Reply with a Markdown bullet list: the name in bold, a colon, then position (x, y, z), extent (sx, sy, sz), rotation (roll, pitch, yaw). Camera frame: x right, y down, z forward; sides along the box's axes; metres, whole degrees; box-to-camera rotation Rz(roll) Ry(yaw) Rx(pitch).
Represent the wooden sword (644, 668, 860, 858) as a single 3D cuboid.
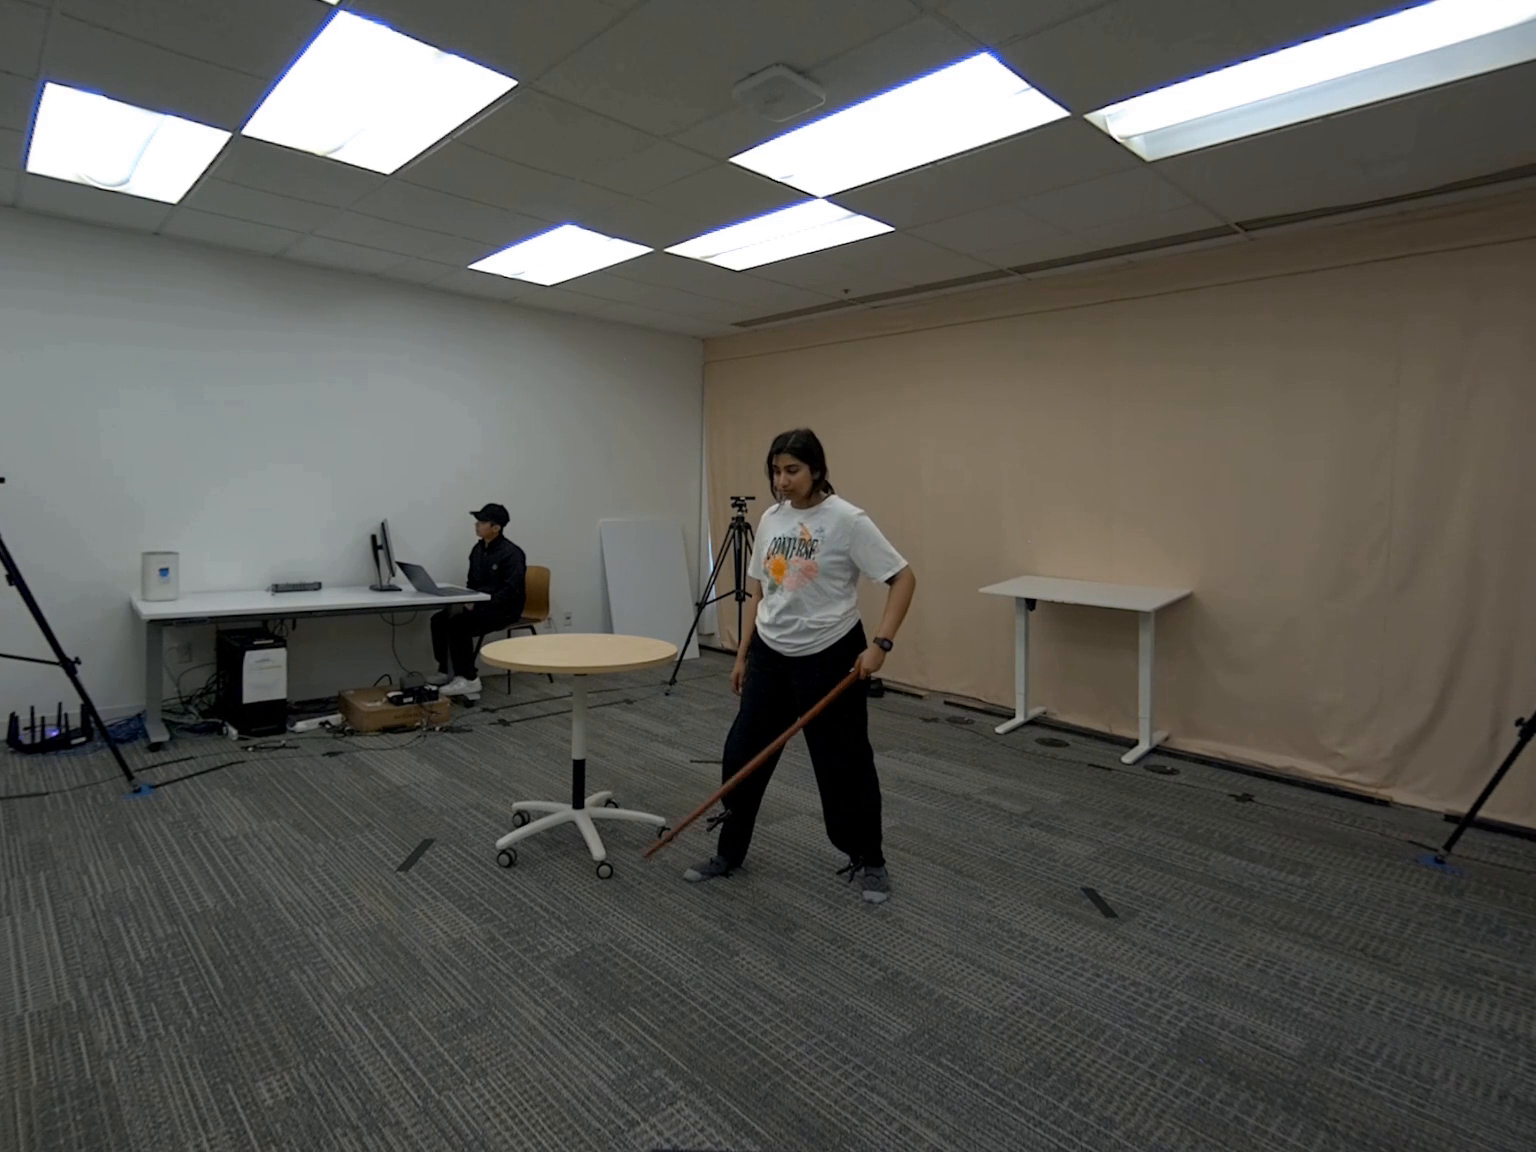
- **wooden sword**: position (0.024, 0.540, 2.607), extent (1.019, 0.023, 0.052), rotation (-36, 25, -25)
